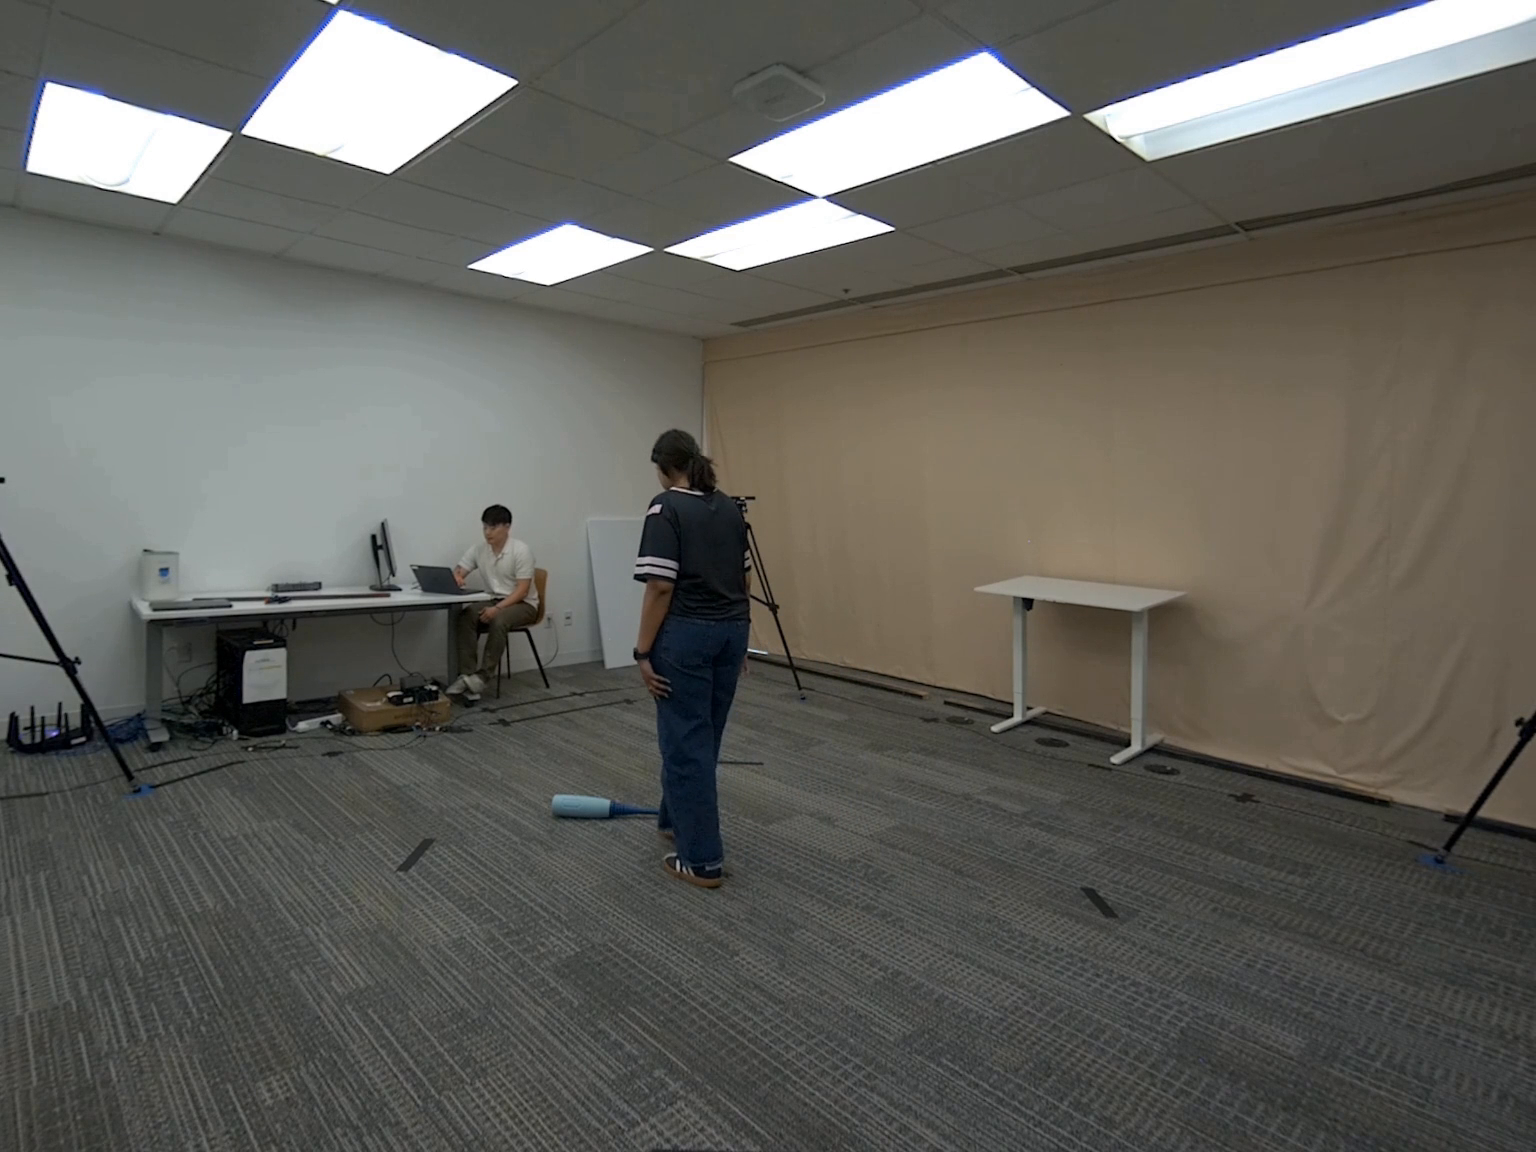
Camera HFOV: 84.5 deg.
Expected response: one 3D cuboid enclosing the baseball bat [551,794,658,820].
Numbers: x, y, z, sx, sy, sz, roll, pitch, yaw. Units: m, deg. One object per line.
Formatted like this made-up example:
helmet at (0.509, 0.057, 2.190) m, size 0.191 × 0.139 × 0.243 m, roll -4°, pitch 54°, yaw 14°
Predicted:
baseball bat at (-0.672, 1.010, 3.641) m, size 0.542 × 0.089 × 0.089 m, roll 5°, pitch 4°, yaw -2°
